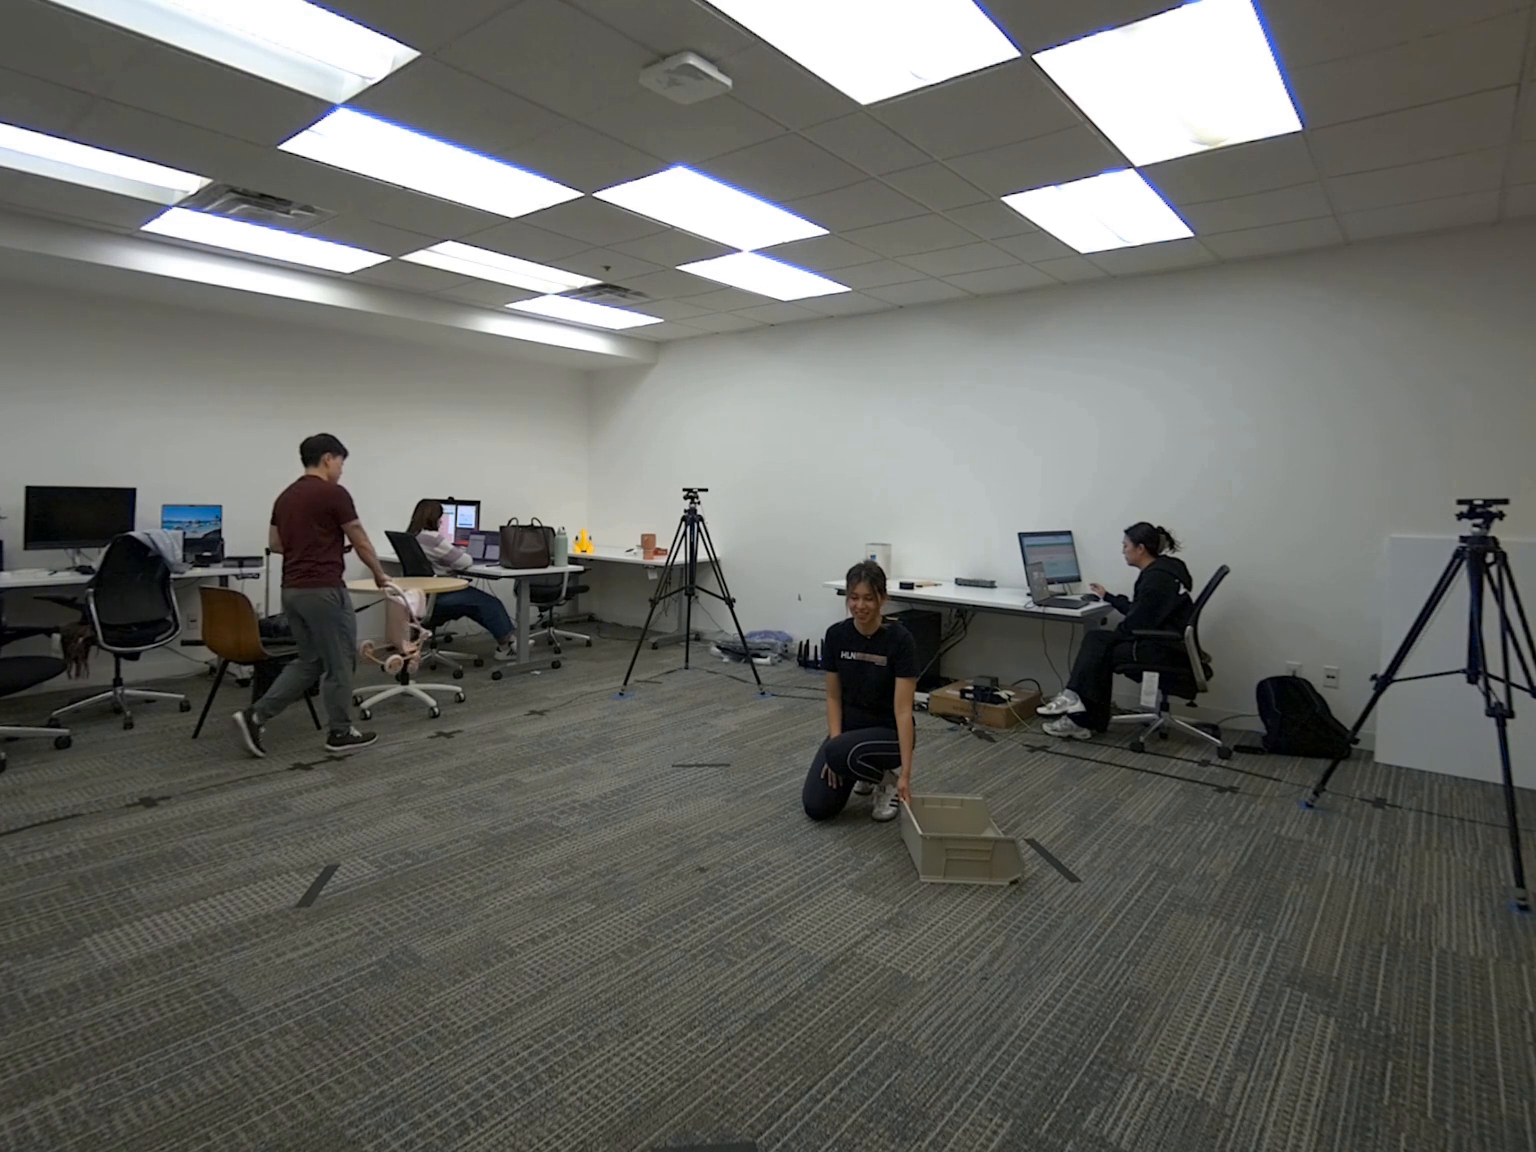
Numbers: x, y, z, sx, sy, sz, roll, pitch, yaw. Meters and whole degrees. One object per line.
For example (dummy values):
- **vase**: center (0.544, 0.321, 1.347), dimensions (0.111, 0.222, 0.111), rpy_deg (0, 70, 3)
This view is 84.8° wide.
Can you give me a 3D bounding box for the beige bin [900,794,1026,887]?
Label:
- **beige bin**: center (0.725, 0.991, 3.245), dimensions (0.377, 0.188, 0.424), rpy_deg (0, 6, -1)
